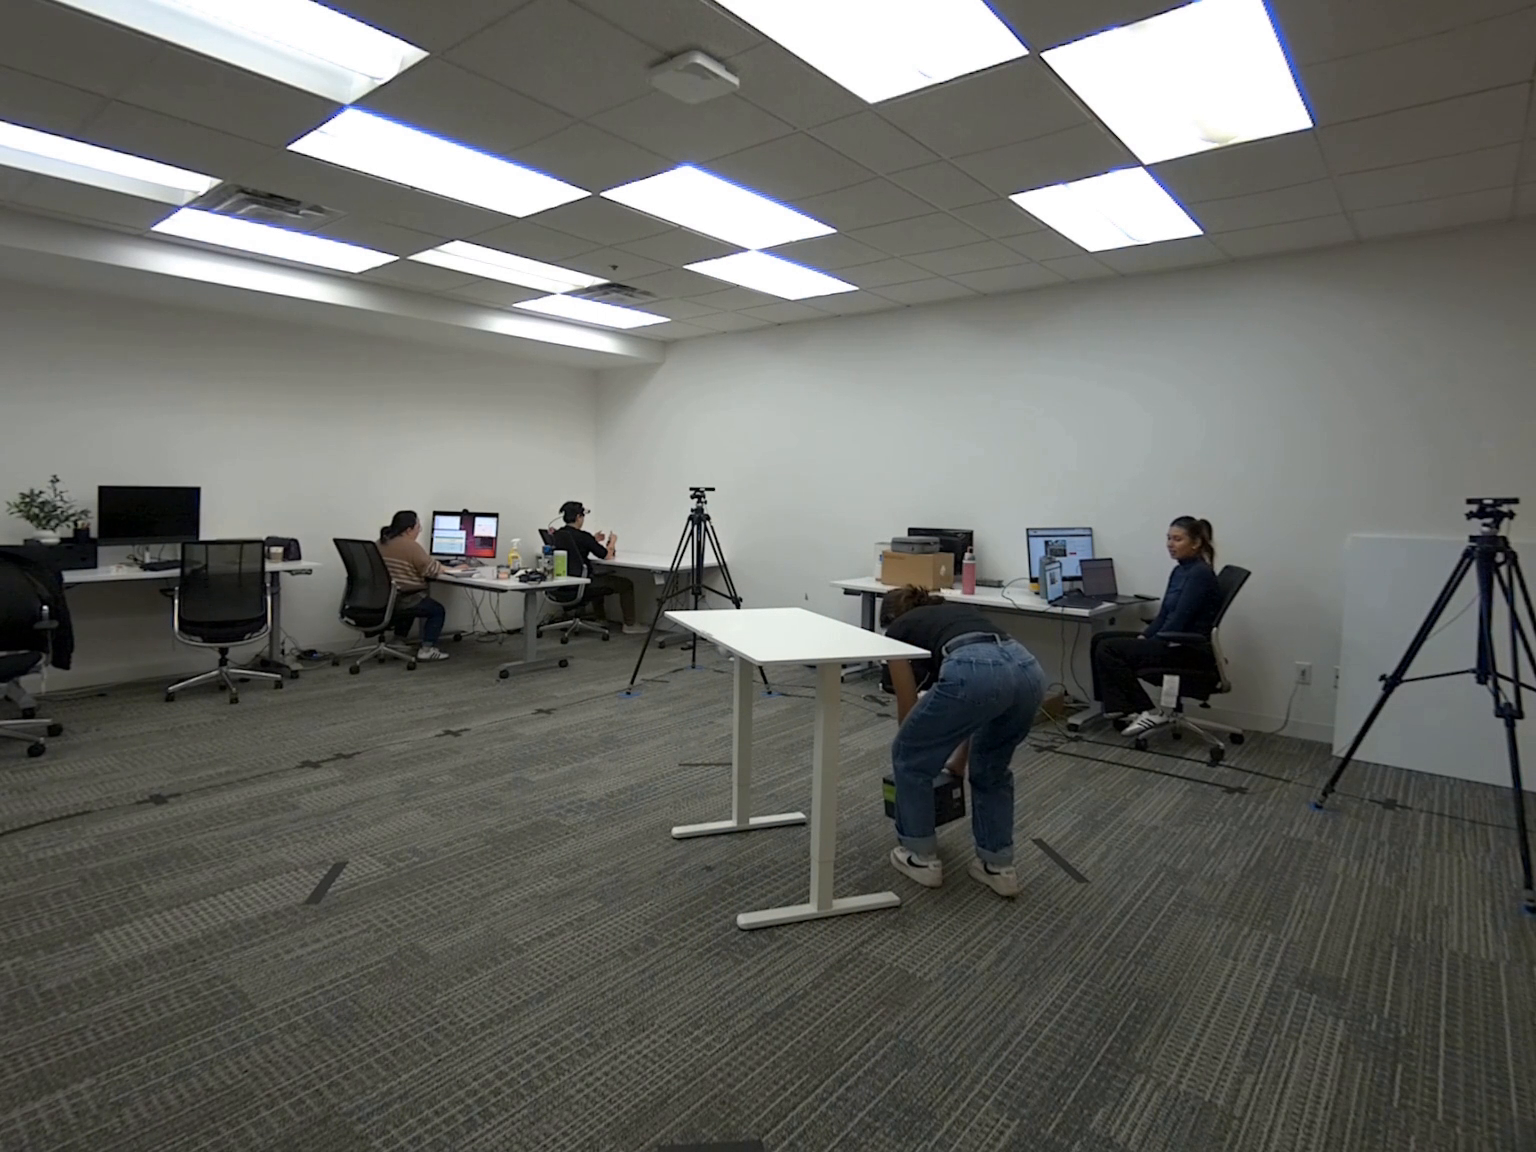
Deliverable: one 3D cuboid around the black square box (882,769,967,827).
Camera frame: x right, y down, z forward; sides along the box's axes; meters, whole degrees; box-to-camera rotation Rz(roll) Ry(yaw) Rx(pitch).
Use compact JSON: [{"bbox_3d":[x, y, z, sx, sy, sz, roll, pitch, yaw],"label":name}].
[{"bbox_3d":[0.605,0.855,3.331,0.211,0.155,0.235,-7,7,-31],"label":"black square box"}]
